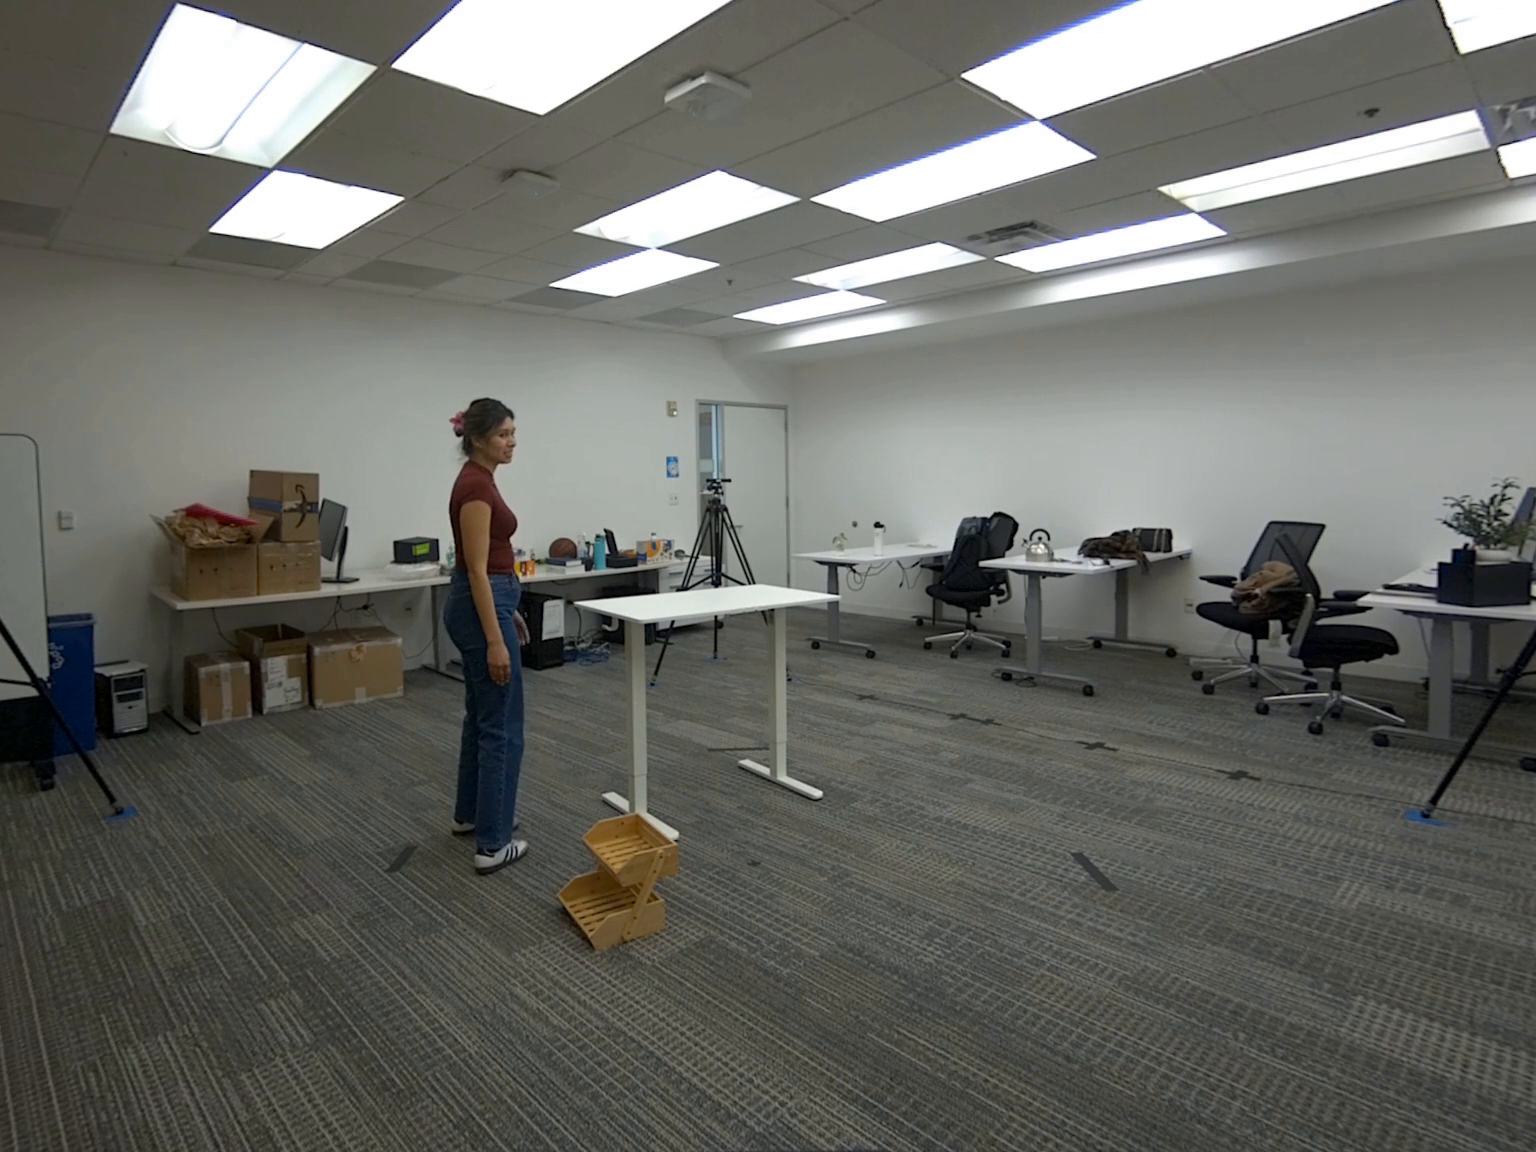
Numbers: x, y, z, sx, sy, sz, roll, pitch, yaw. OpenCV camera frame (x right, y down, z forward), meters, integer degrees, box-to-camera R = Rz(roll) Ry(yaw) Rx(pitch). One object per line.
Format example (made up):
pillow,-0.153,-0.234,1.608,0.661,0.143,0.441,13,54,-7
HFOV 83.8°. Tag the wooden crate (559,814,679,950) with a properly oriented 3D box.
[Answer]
wooden crate,-0.485,0.961,2.734,0.295,0.272,0.334,-4,6,-31
